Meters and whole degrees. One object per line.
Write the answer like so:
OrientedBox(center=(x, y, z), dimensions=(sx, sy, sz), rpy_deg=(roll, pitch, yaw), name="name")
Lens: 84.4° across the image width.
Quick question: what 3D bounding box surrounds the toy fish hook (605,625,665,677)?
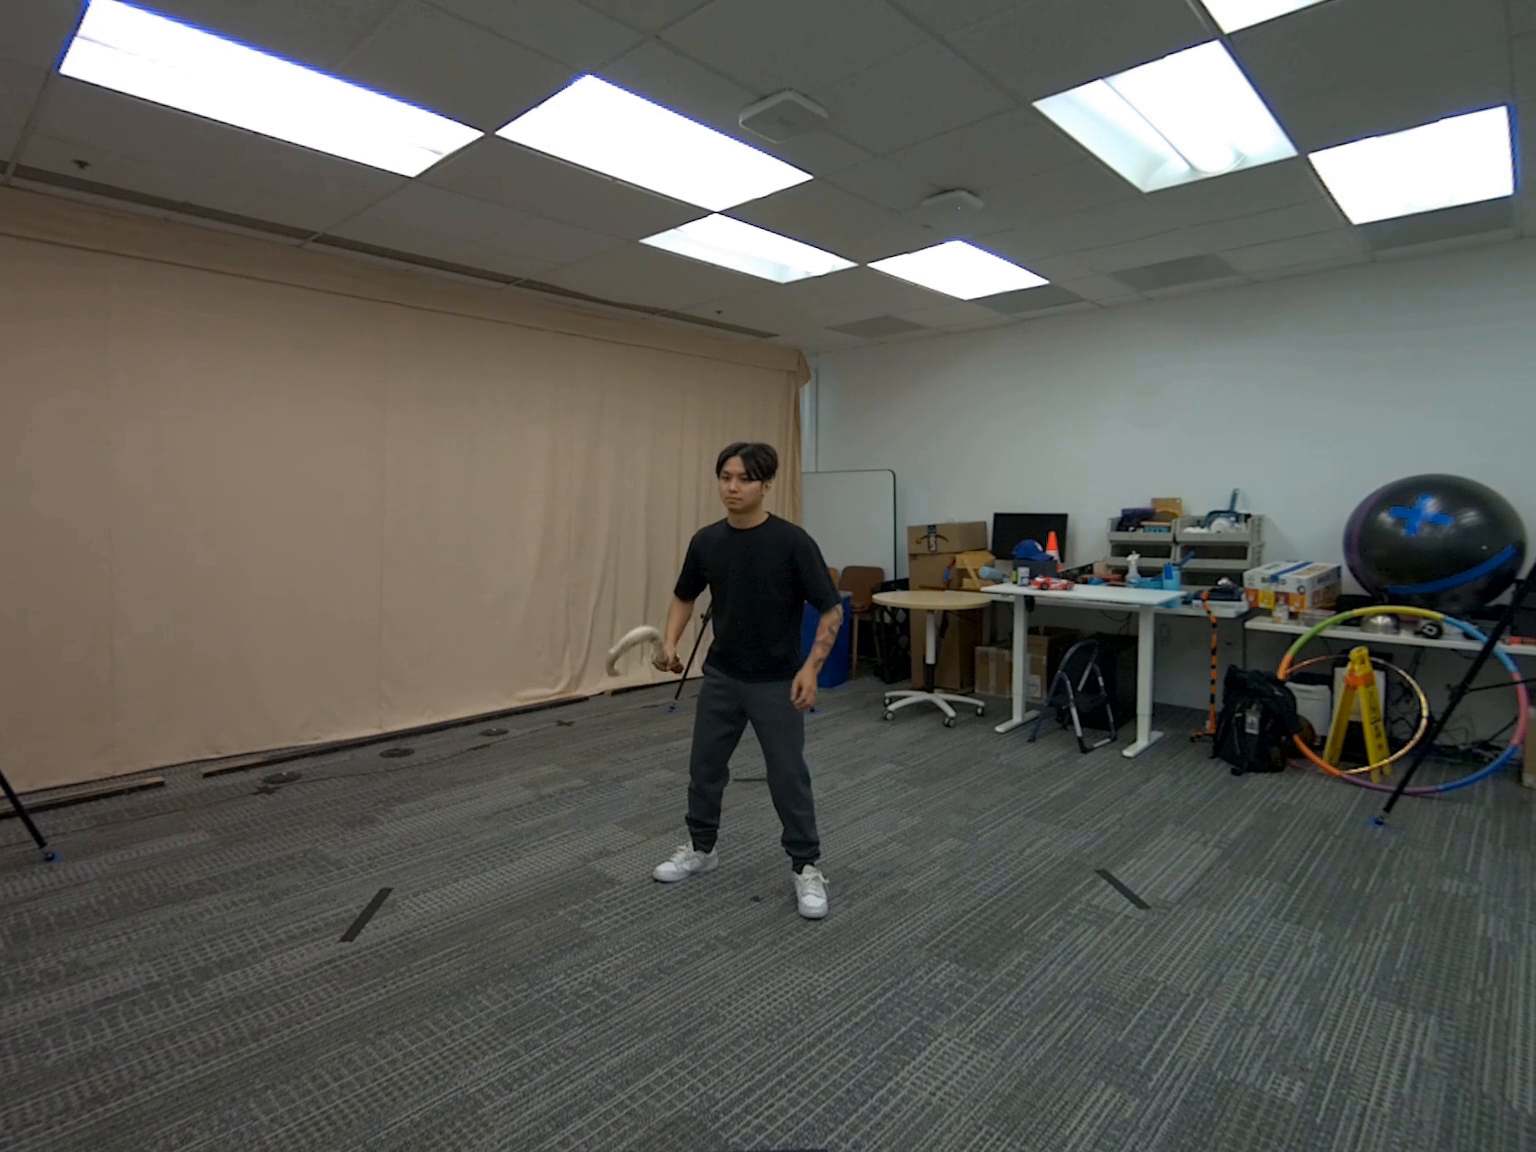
OrientedBox(center=(-0.422, 0.298, 2.958), dimensions=(0.224, 0.050, 0.492), rpy_deg=(-36, -27, -1), name="toy fish hook")
